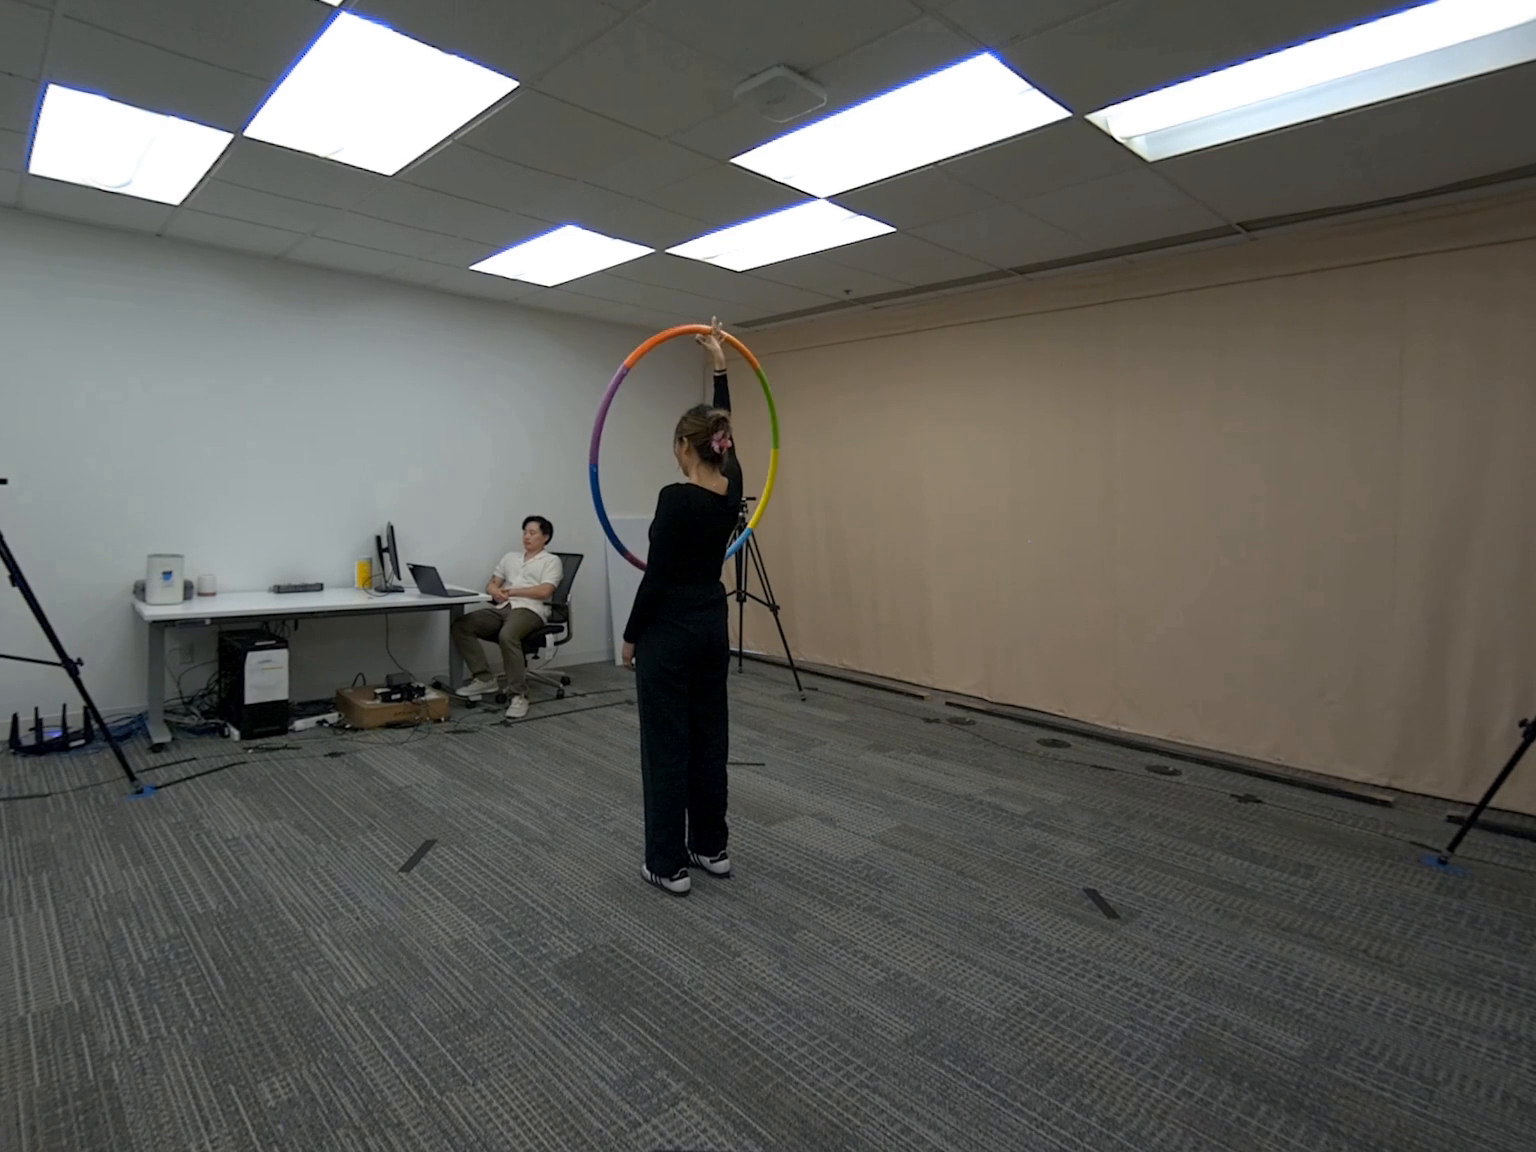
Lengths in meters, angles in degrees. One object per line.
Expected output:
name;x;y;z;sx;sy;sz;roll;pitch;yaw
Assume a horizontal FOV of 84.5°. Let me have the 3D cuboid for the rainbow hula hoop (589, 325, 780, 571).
rainbow hula hoop;-0.297;-0.482;3.307;0.053;0.979;0.963;15;13;42
